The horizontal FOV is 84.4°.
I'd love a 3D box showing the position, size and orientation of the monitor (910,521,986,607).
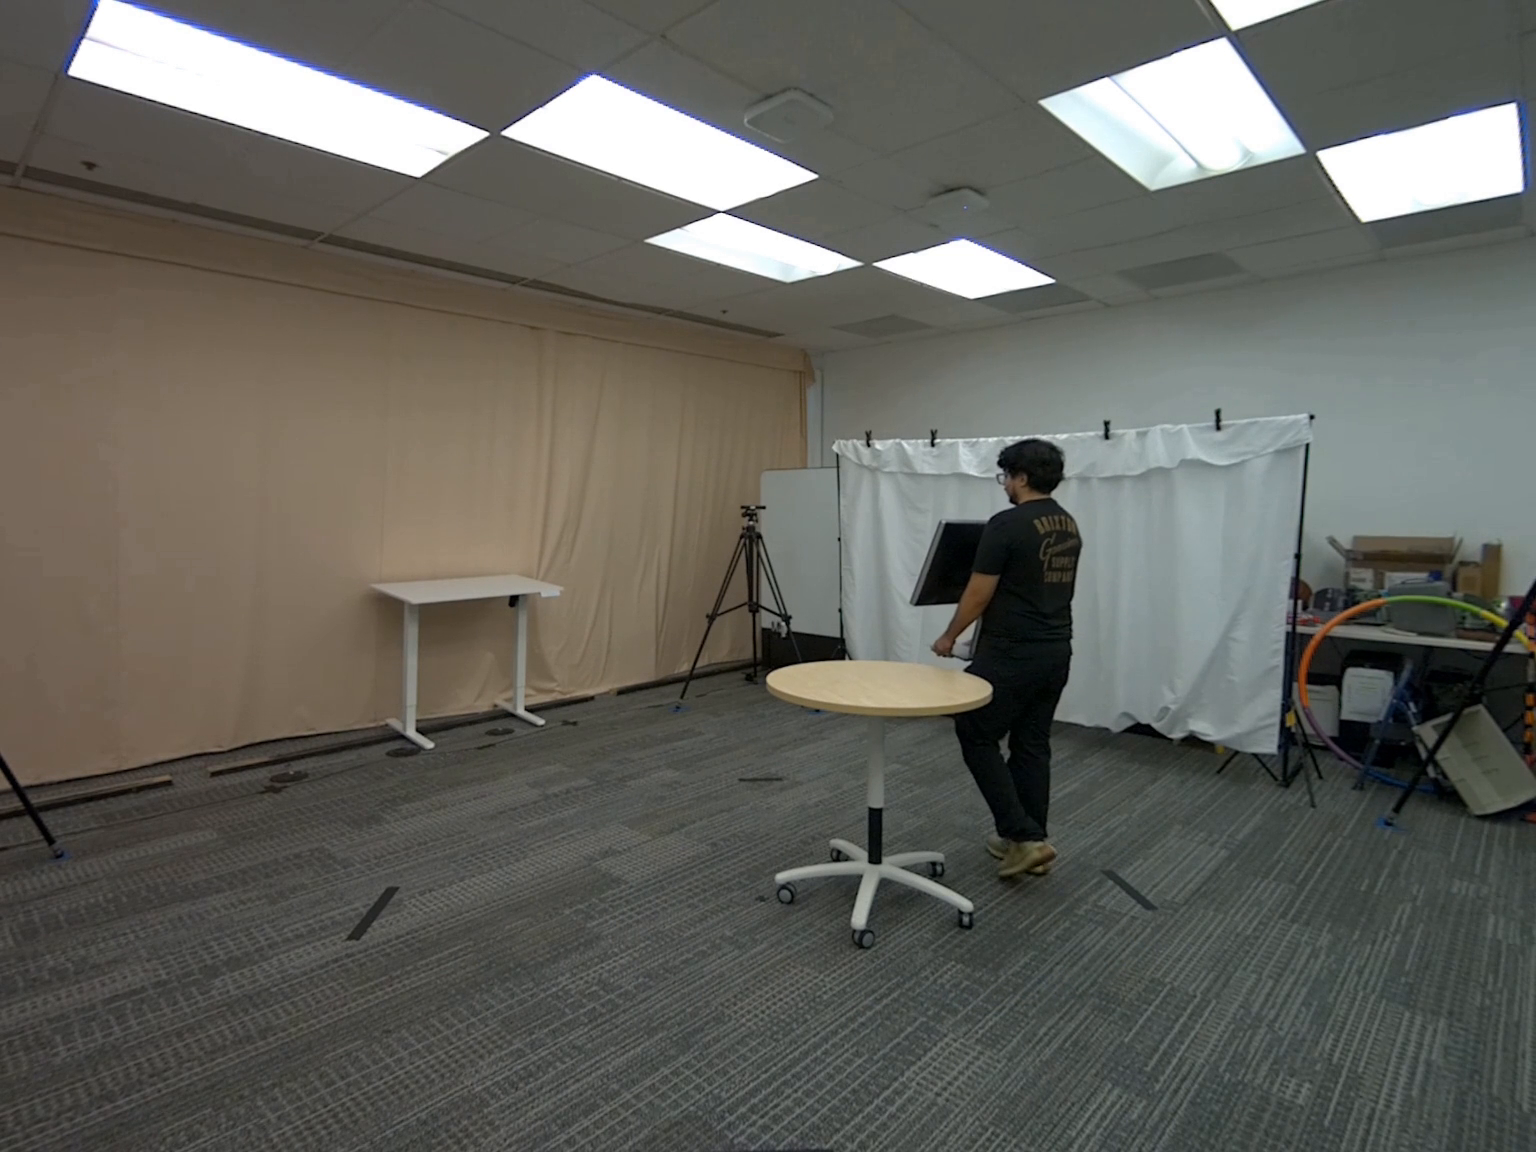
[{"bbox_3d":[0.829,0.055,3.375,0.549,0.550,0.218,-1,22,-33],"label":"monitor"}]
